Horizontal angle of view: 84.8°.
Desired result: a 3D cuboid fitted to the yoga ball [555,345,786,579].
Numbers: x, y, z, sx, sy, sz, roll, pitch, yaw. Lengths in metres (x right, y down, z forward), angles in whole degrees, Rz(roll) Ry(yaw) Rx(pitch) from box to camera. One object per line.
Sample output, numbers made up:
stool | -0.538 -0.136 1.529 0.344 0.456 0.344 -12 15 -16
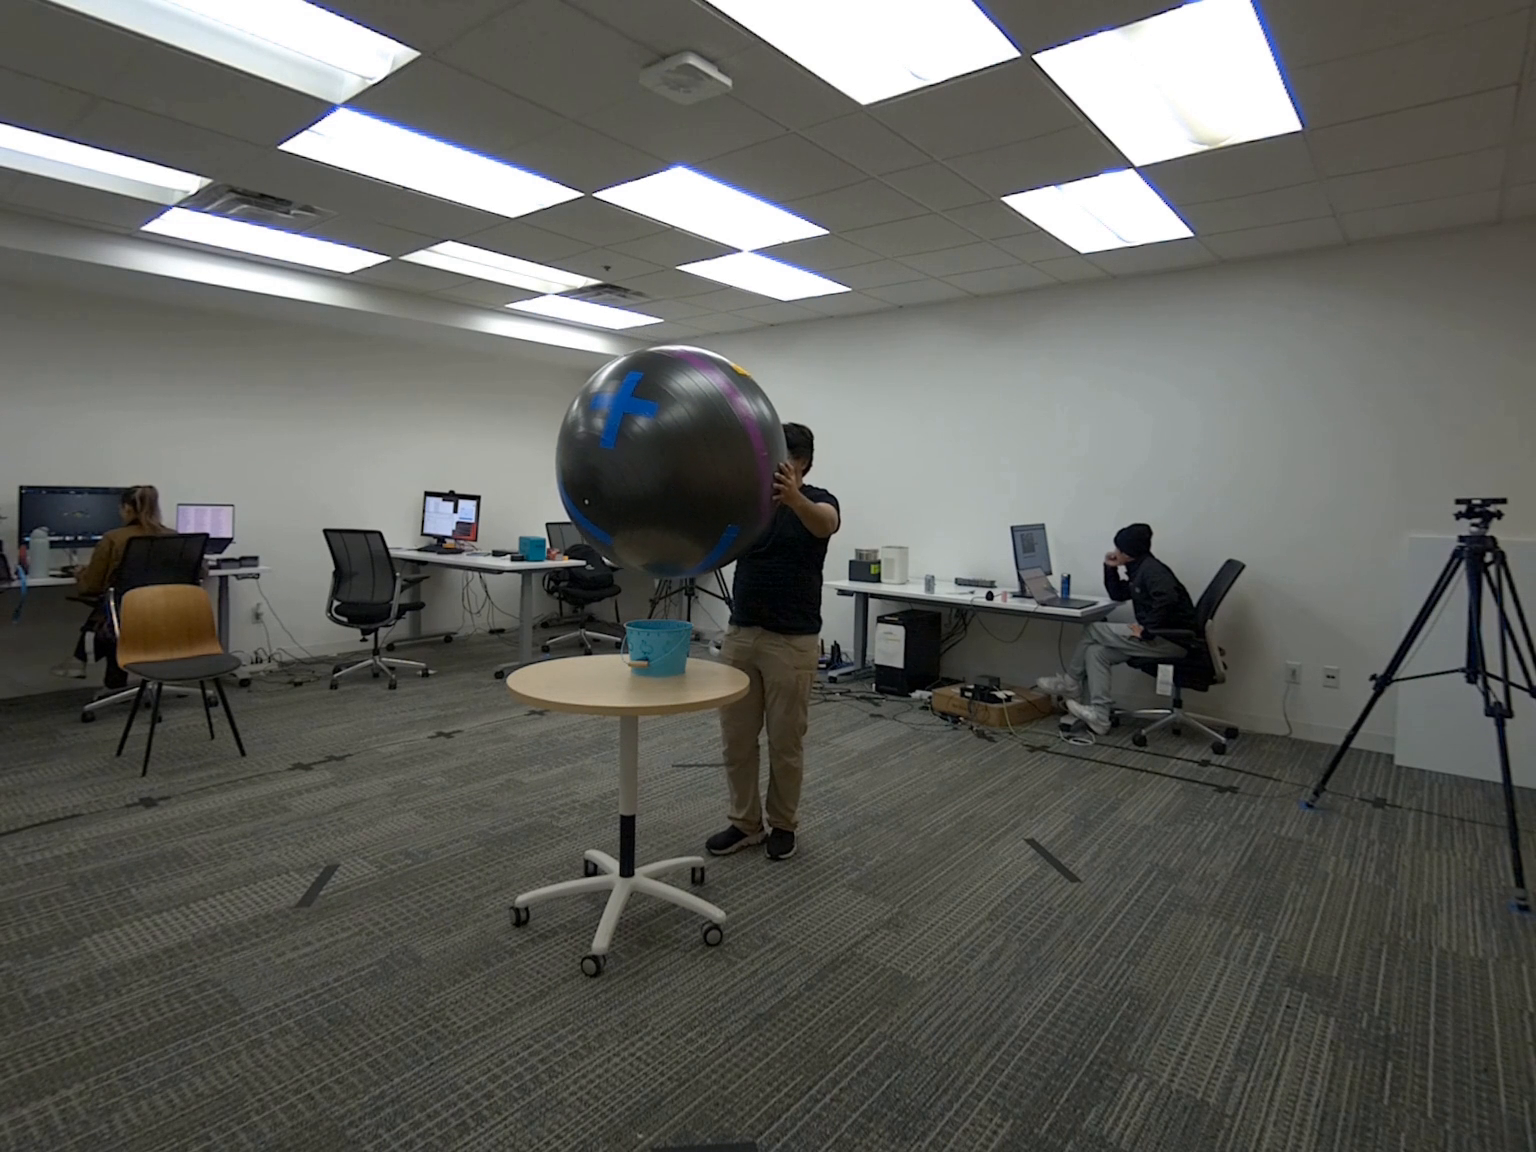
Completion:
yoga ball | -0.324 -0.368 2.784 0.757 0.755 0.762 1 4 -2
